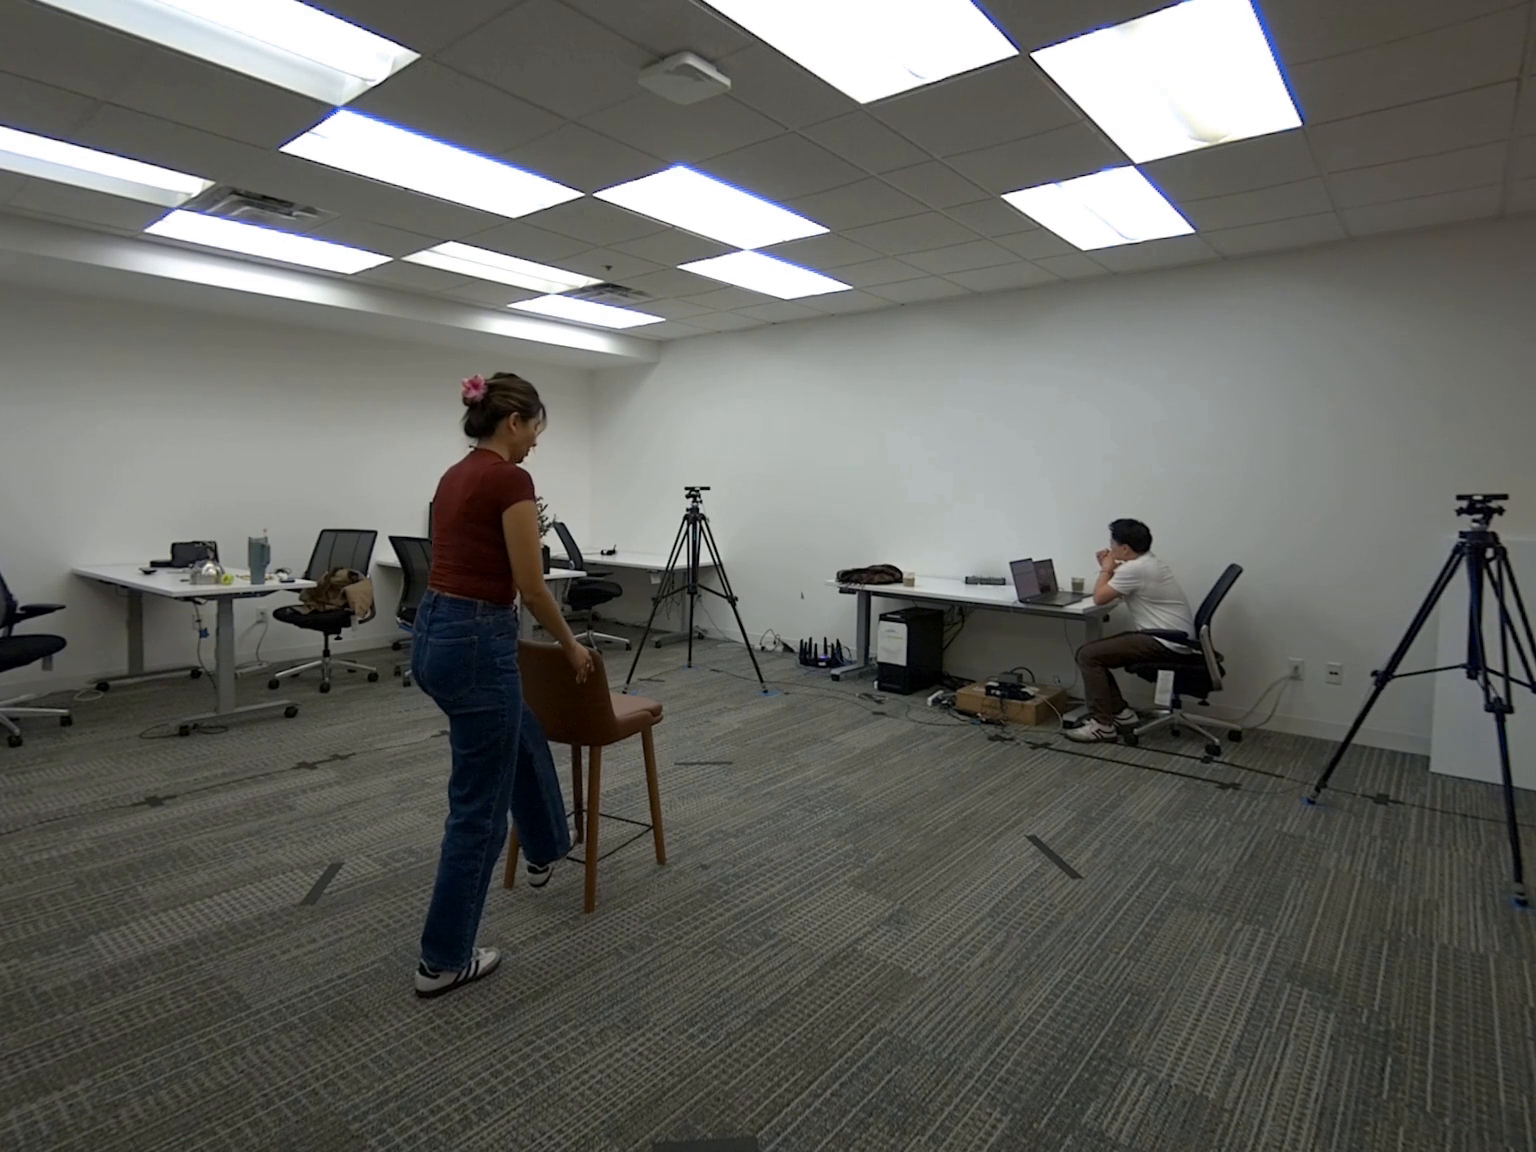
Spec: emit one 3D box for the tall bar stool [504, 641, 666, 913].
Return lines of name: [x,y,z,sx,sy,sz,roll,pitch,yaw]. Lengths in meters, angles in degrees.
tall bar stool: [-0.663,0.630,3.015,0.469,0.886,0.457,2,6,27]
